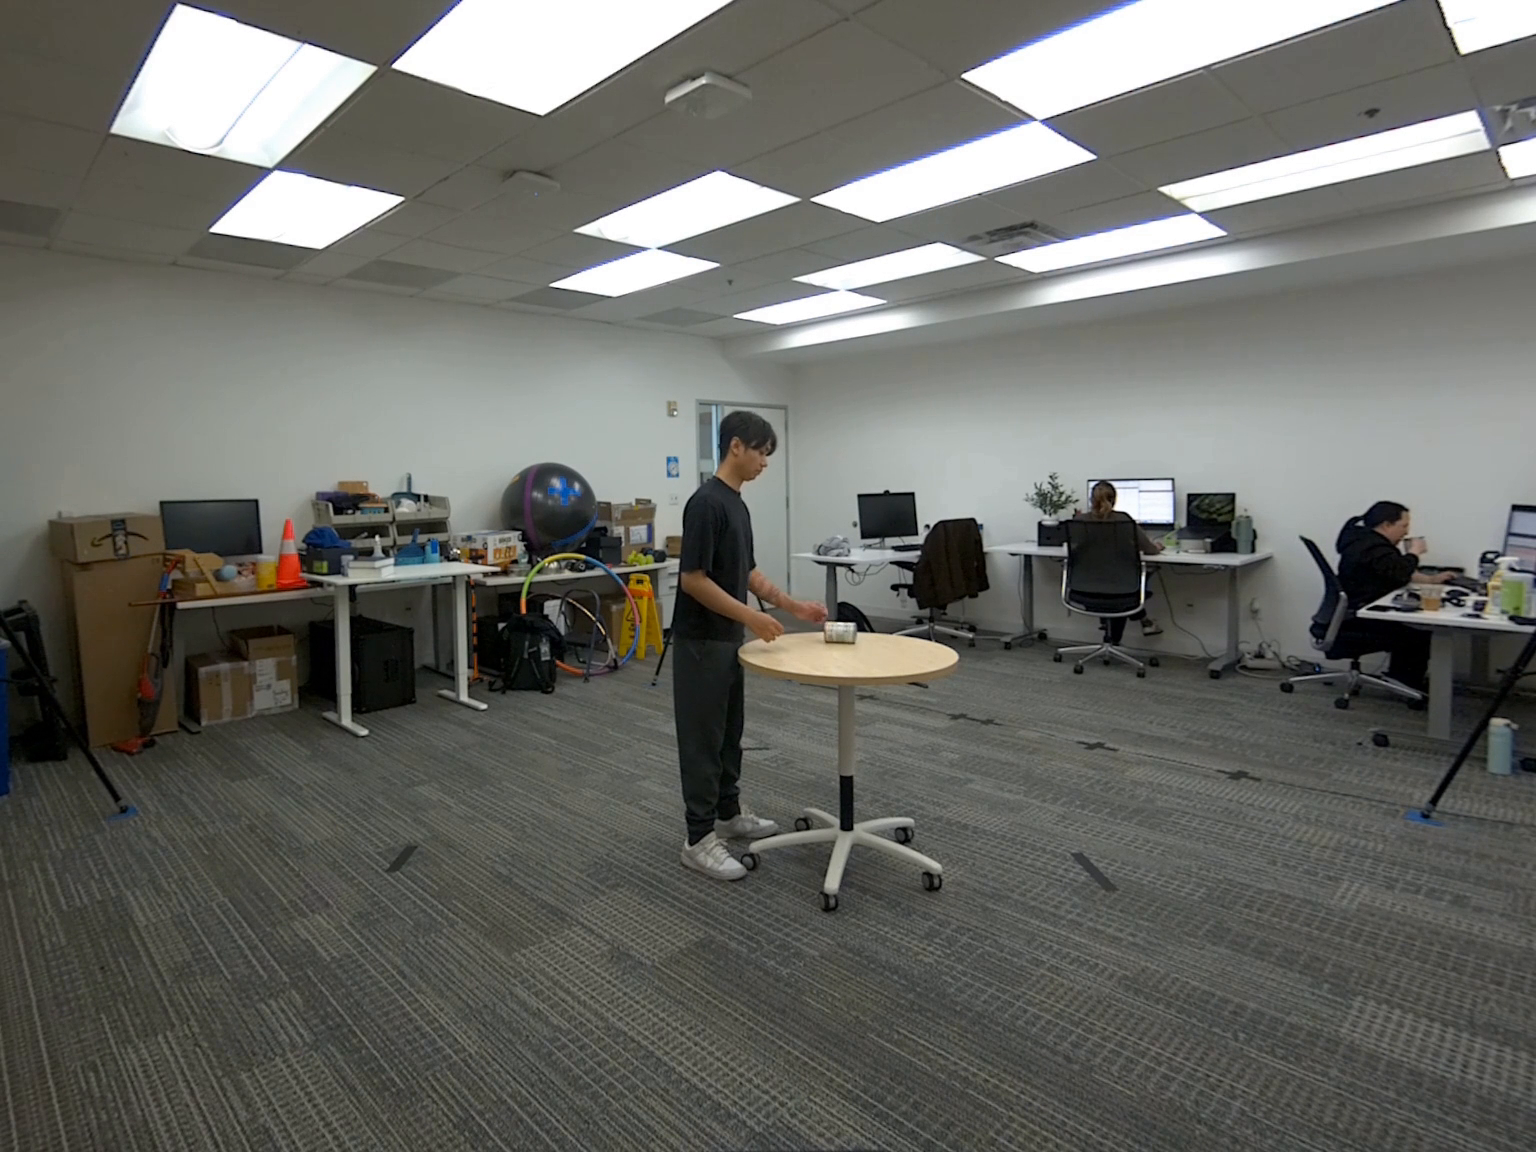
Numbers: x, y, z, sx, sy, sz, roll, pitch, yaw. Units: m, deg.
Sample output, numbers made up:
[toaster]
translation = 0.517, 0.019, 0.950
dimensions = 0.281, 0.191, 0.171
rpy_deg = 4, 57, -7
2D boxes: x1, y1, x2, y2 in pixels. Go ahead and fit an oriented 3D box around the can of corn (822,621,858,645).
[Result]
[can of corn]
translation = 0.267, 0.207, 3.174
dimensions = 0.112, 0.074, 0.073
rpy_deg = 4, 6, 12
